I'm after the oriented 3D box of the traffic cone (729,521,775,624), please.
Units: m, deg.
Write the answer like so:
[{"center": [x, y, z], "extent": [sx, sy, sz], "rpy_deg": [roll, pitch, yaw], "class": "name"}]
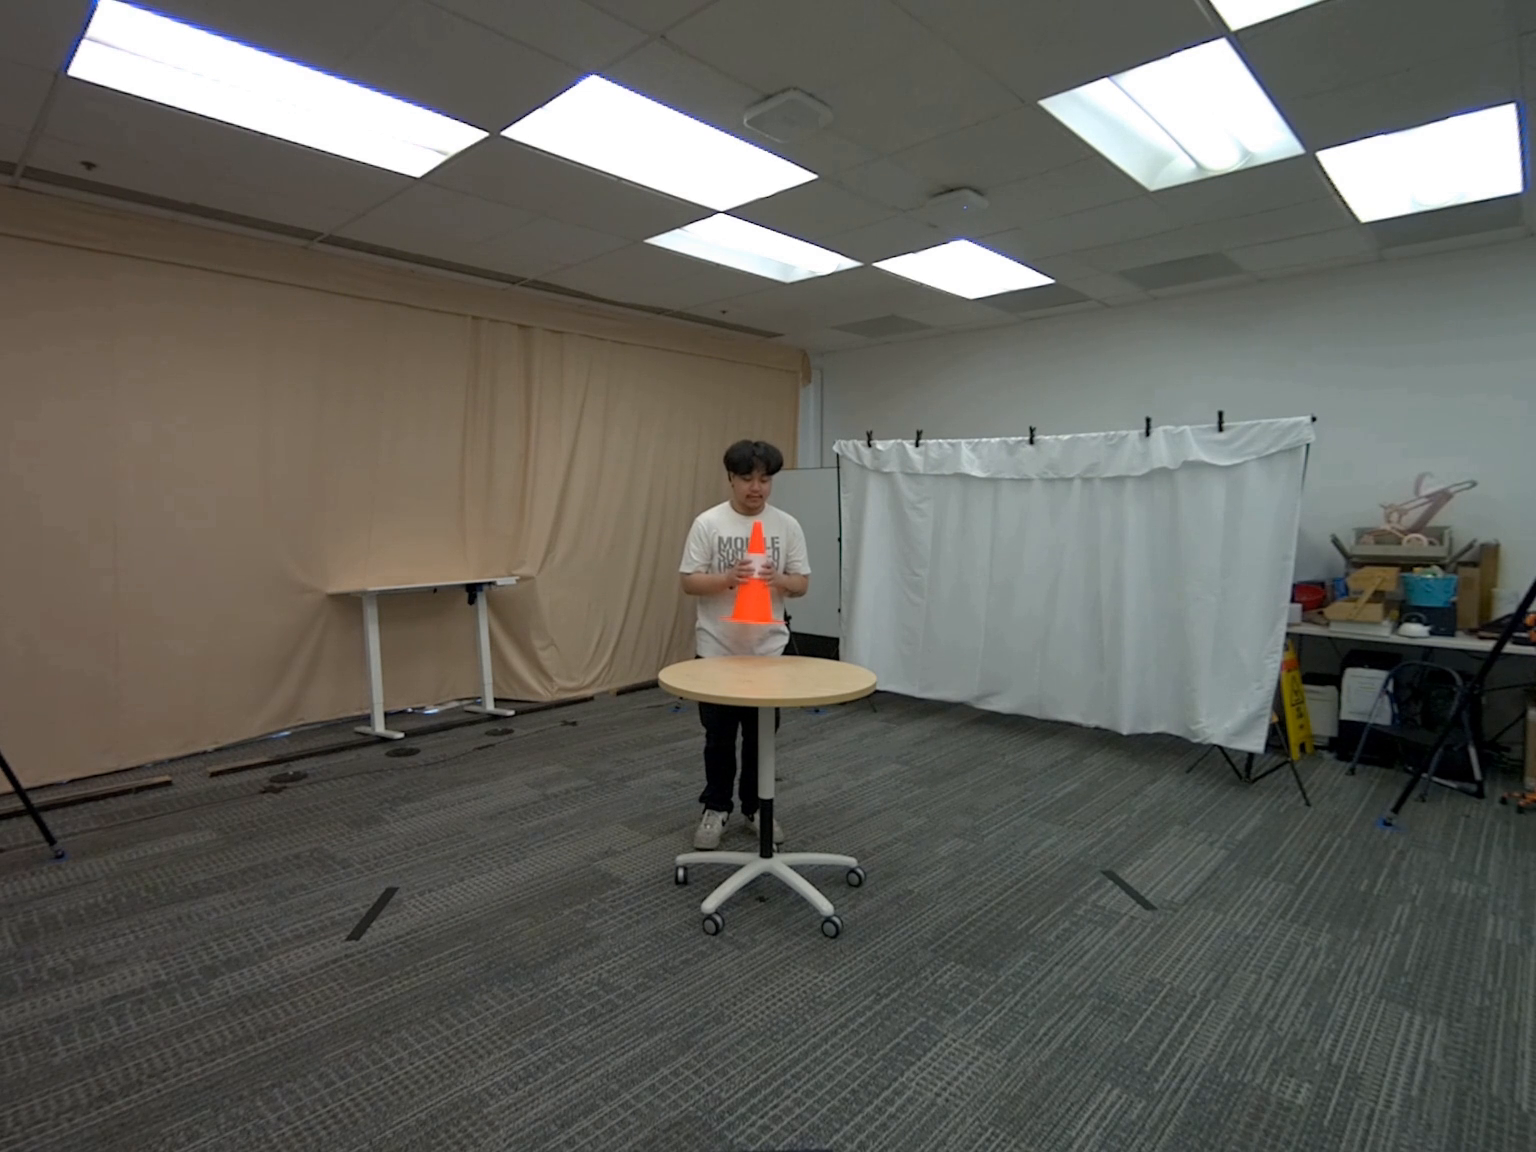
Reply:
[{"center": [-0.049, -0.017, 3.255], "extent": [0.212, 0.383, 0.197], "rpy_deg": [6, 3, 36], "class": "traffic cone"}]
